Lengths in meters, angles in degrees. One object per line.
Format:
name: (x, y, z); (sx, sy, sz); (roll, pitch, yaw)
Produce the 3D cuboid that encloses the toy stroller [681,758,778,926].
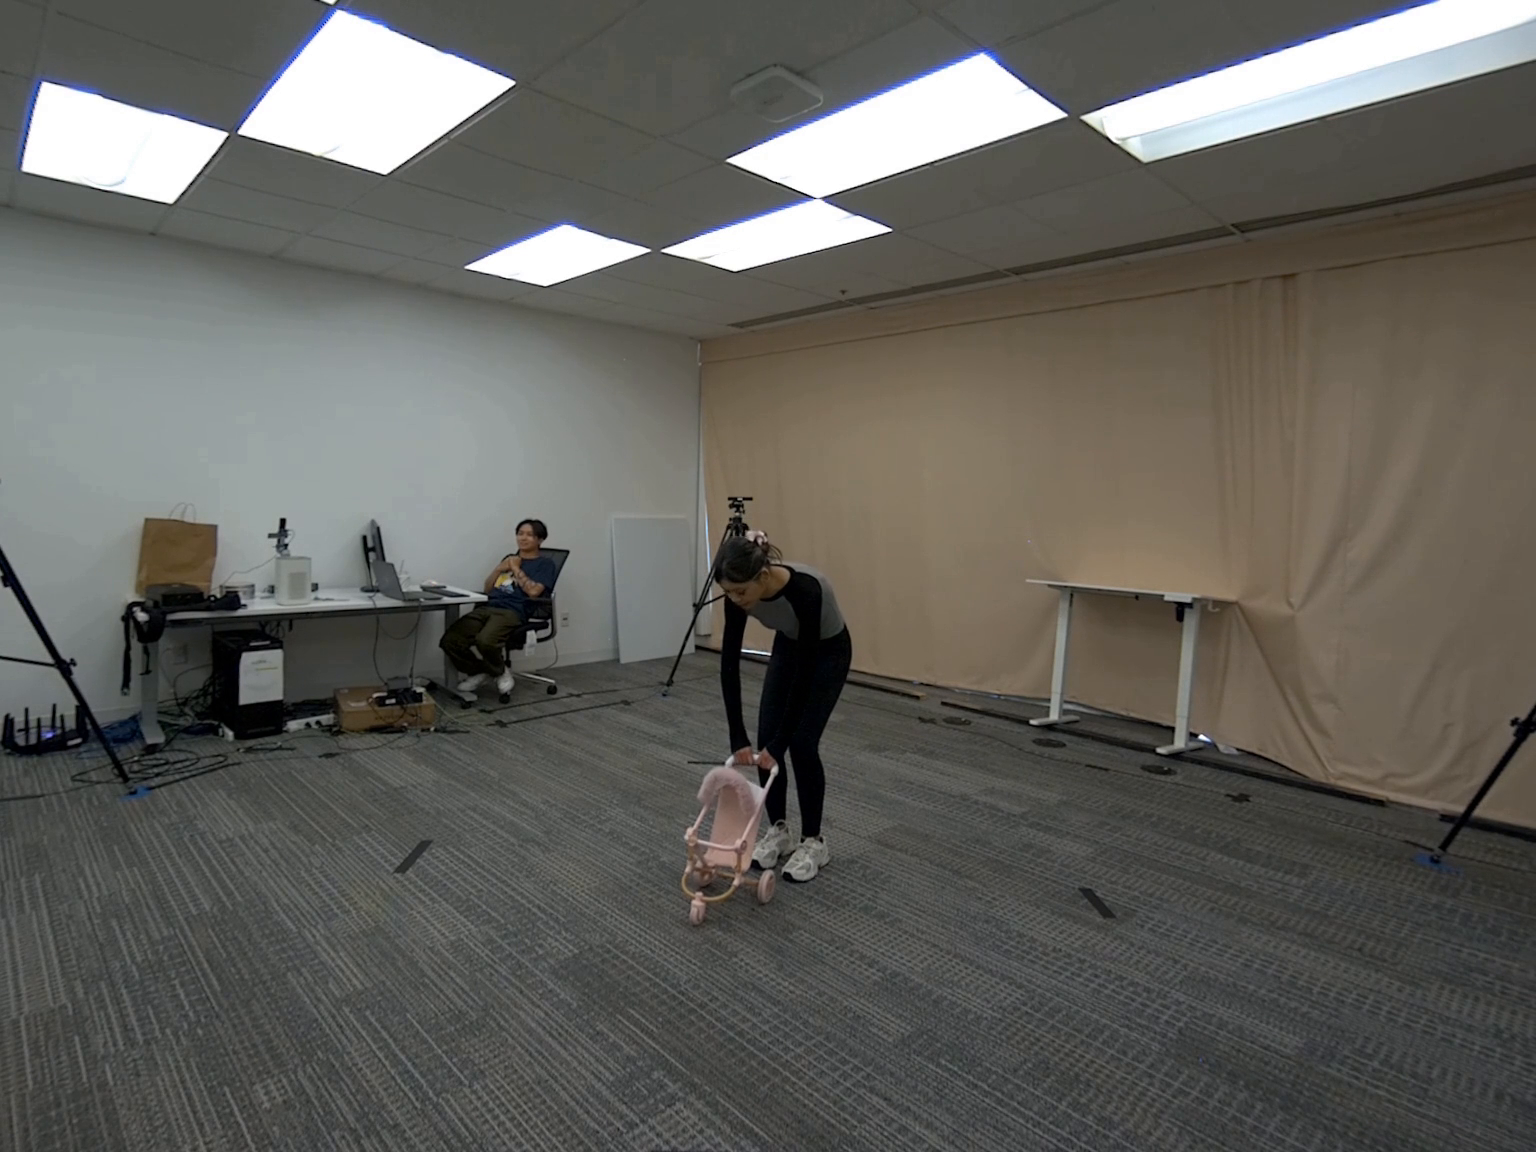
toy stroller: (-0.152, 0.892, 2.890); (0.288, 0.537, 0.332); (2, -9, 32)
